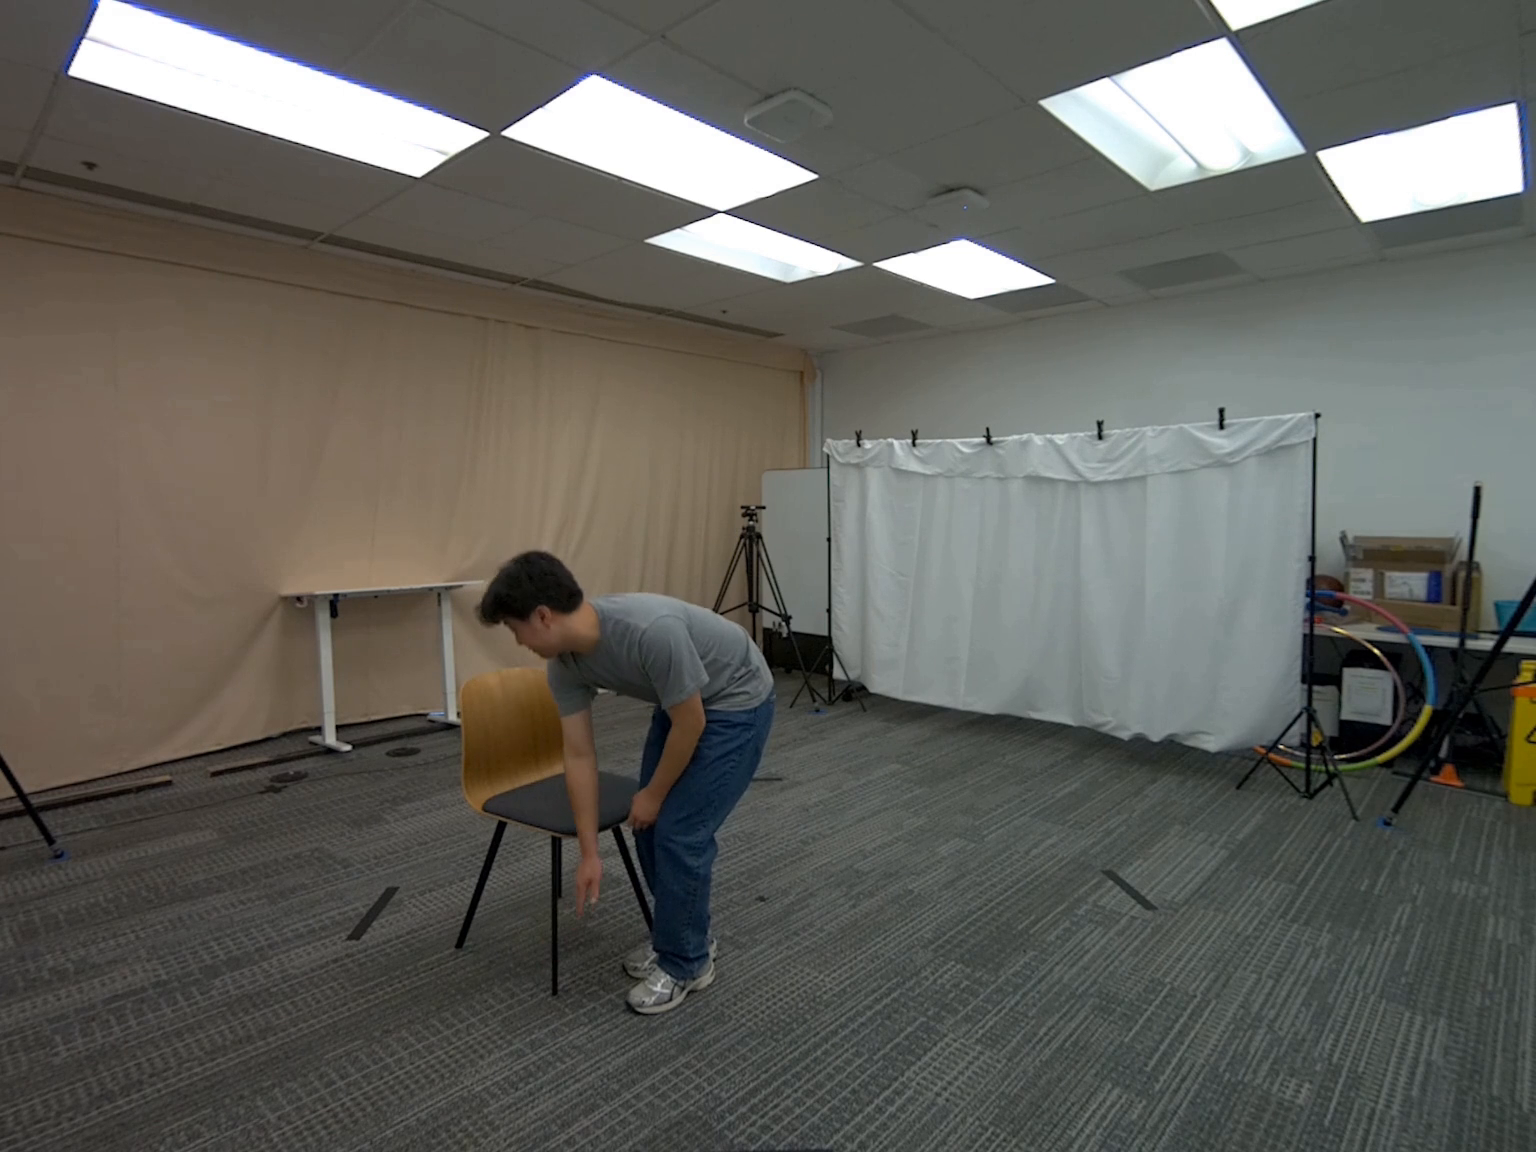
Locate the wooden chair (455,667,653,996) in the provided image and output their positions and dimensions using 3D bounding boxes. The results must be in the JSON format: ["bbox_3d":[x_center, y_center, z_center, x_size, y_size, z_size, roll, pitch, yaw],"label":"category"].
[{"bbox_3d":[-0.674,0.749,2.675,0.538,0.877,0.464,-3,1,35],"label":"wooden chair"}]
